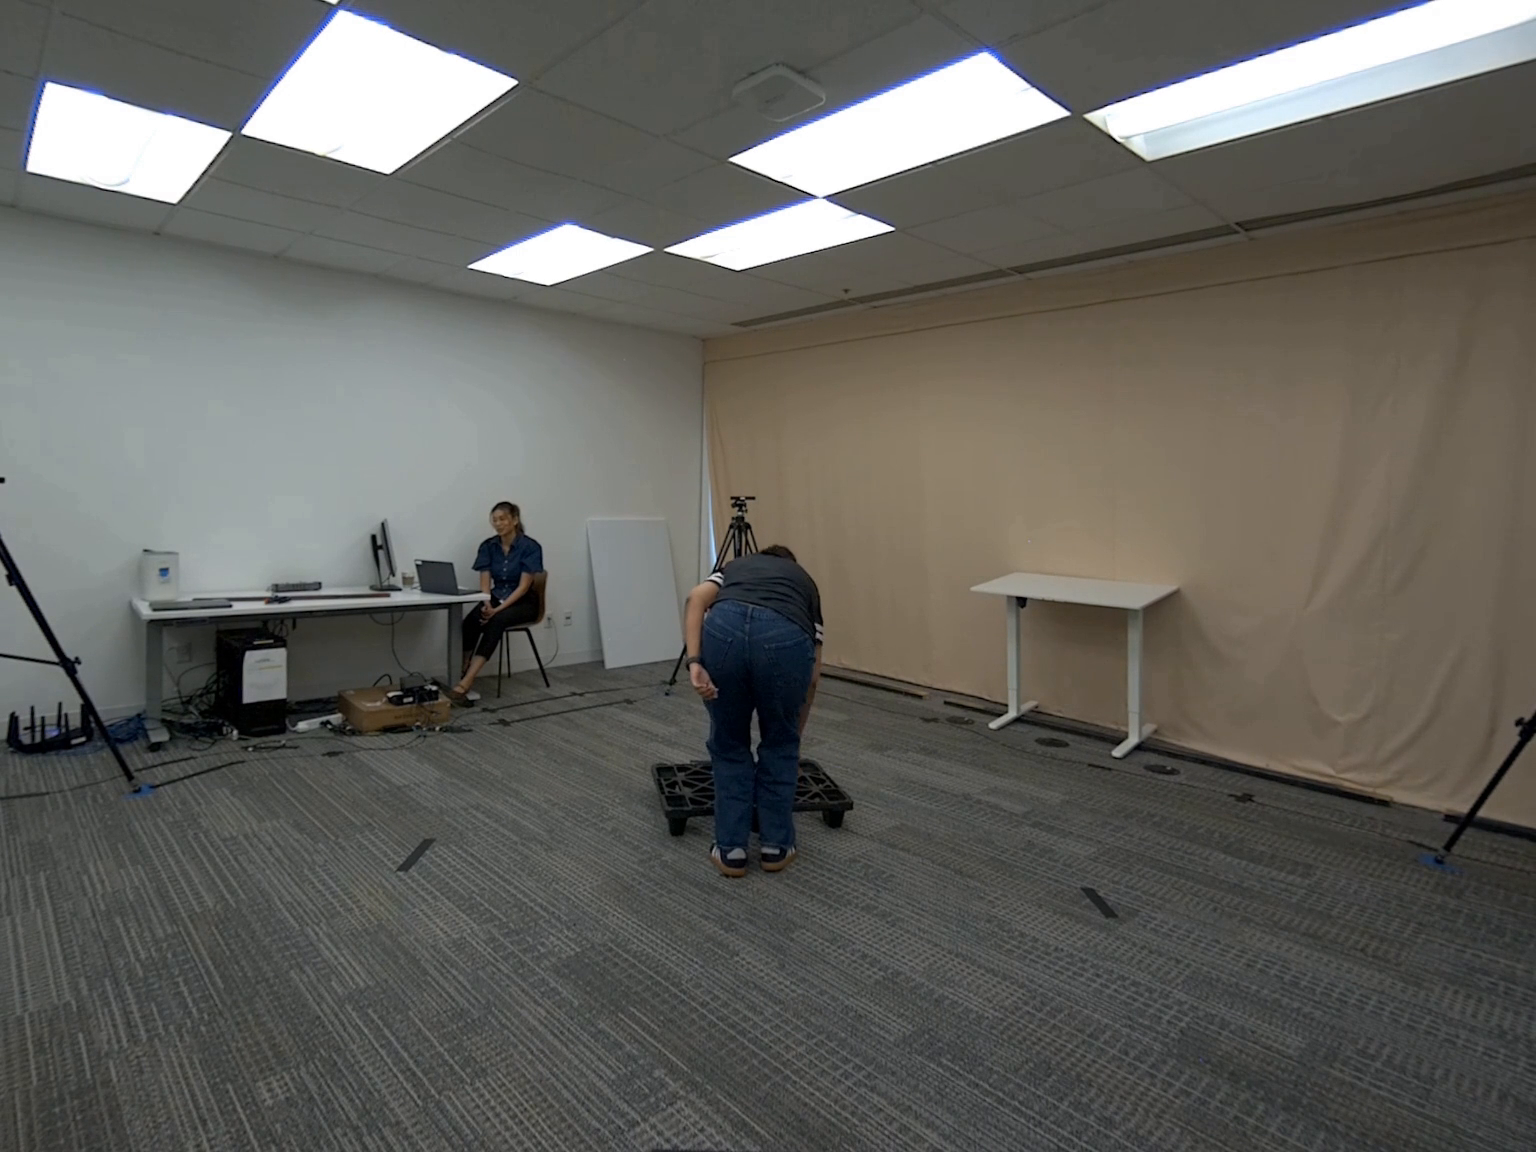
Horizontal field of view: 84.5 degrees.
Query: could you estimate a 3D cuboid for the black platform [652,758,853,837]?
[{"bbox_3d":[-0.106,0.984,3.751,0.798,0.143,0.612,1,4,-12],"label":"black platform"}]
